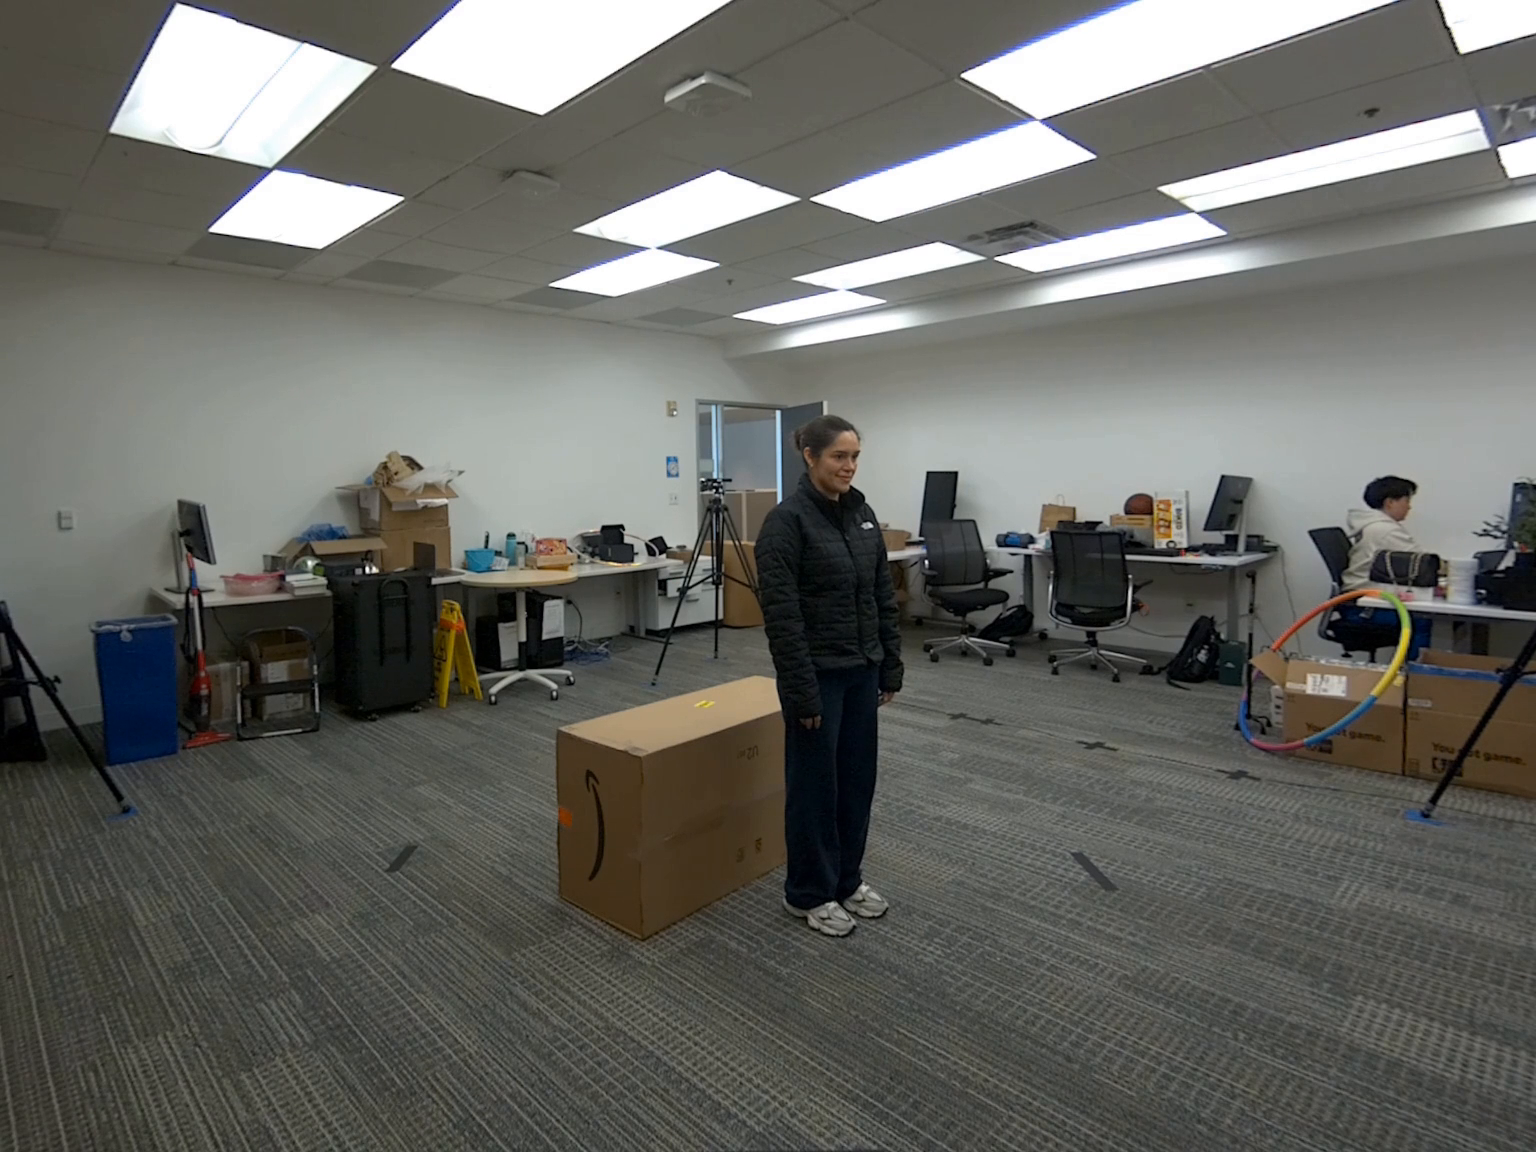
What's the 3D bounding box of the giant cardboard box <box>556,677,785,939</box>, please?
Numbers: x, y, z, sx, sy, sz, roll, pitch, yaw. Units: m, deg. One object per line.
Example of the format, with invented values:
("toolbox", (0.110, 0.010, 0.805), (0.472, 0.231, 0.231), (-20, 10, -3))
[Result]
("giant cardboard box", (-0.223, 0.763, 3.101), (0.439, 0.575, 0.999), (5, 8, 41))
